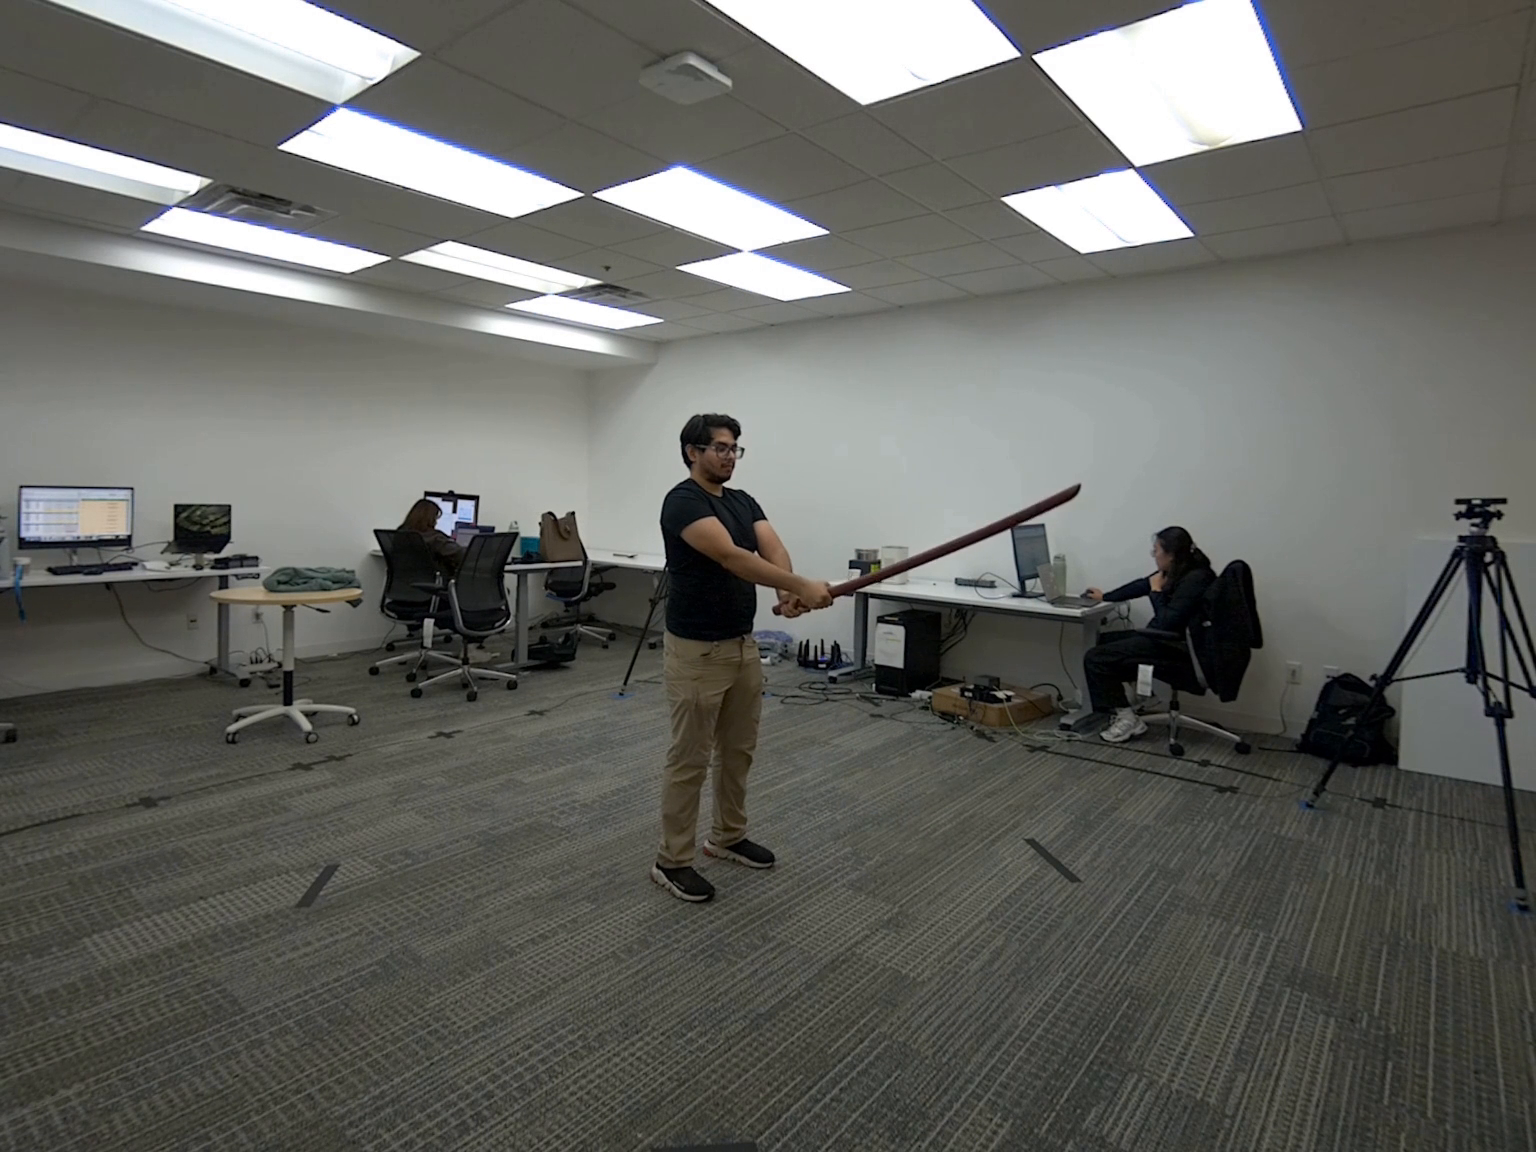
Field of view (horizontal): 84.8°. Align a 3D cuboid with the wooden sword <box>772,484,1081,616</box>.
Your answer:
[{"bbox_3d":[0.407,-0.045,2.485,1.040,0.052,0.023,-25,-23,35],"label":"wooden sword"}]
